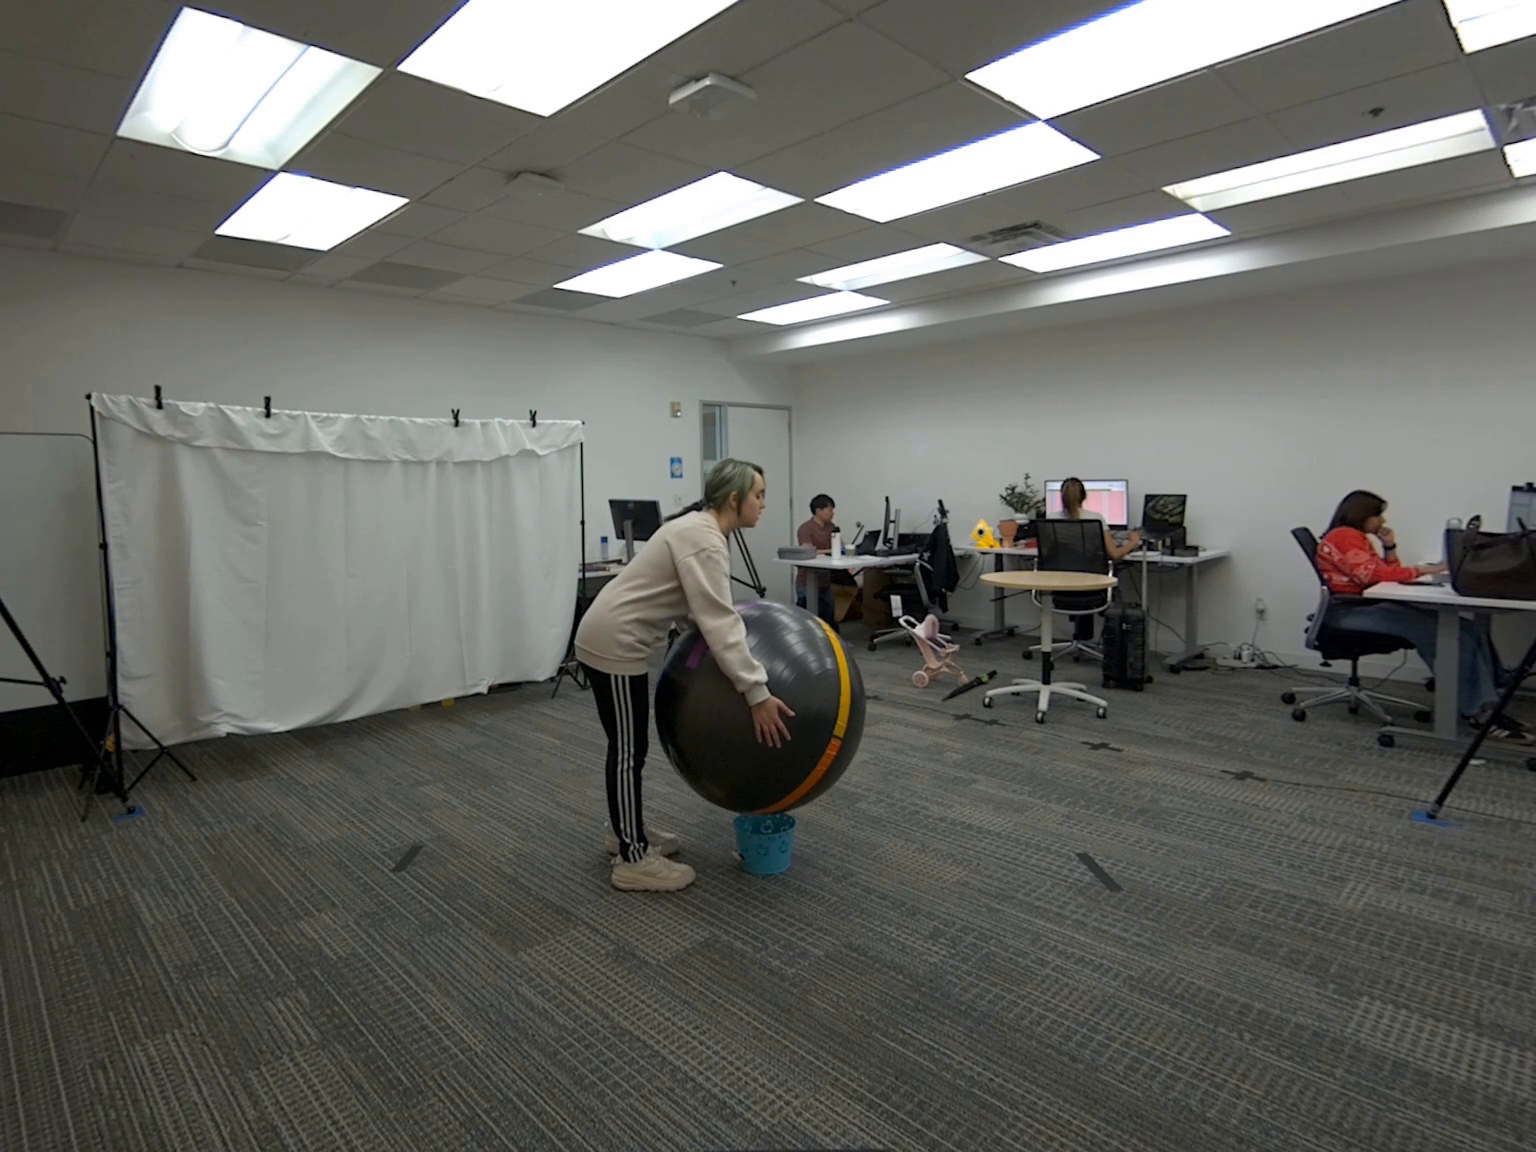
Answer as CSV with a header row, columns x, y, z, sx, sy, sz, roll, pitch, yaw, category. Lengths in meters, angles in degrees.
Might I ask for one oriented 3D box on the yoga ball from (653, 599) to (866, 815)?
x,y,z,sx,sy,sz,roll,pitch,yaw,category
-0.022,0.456,3.074,0.757,0.755,0.762,-1,5,-2,yoga ball
